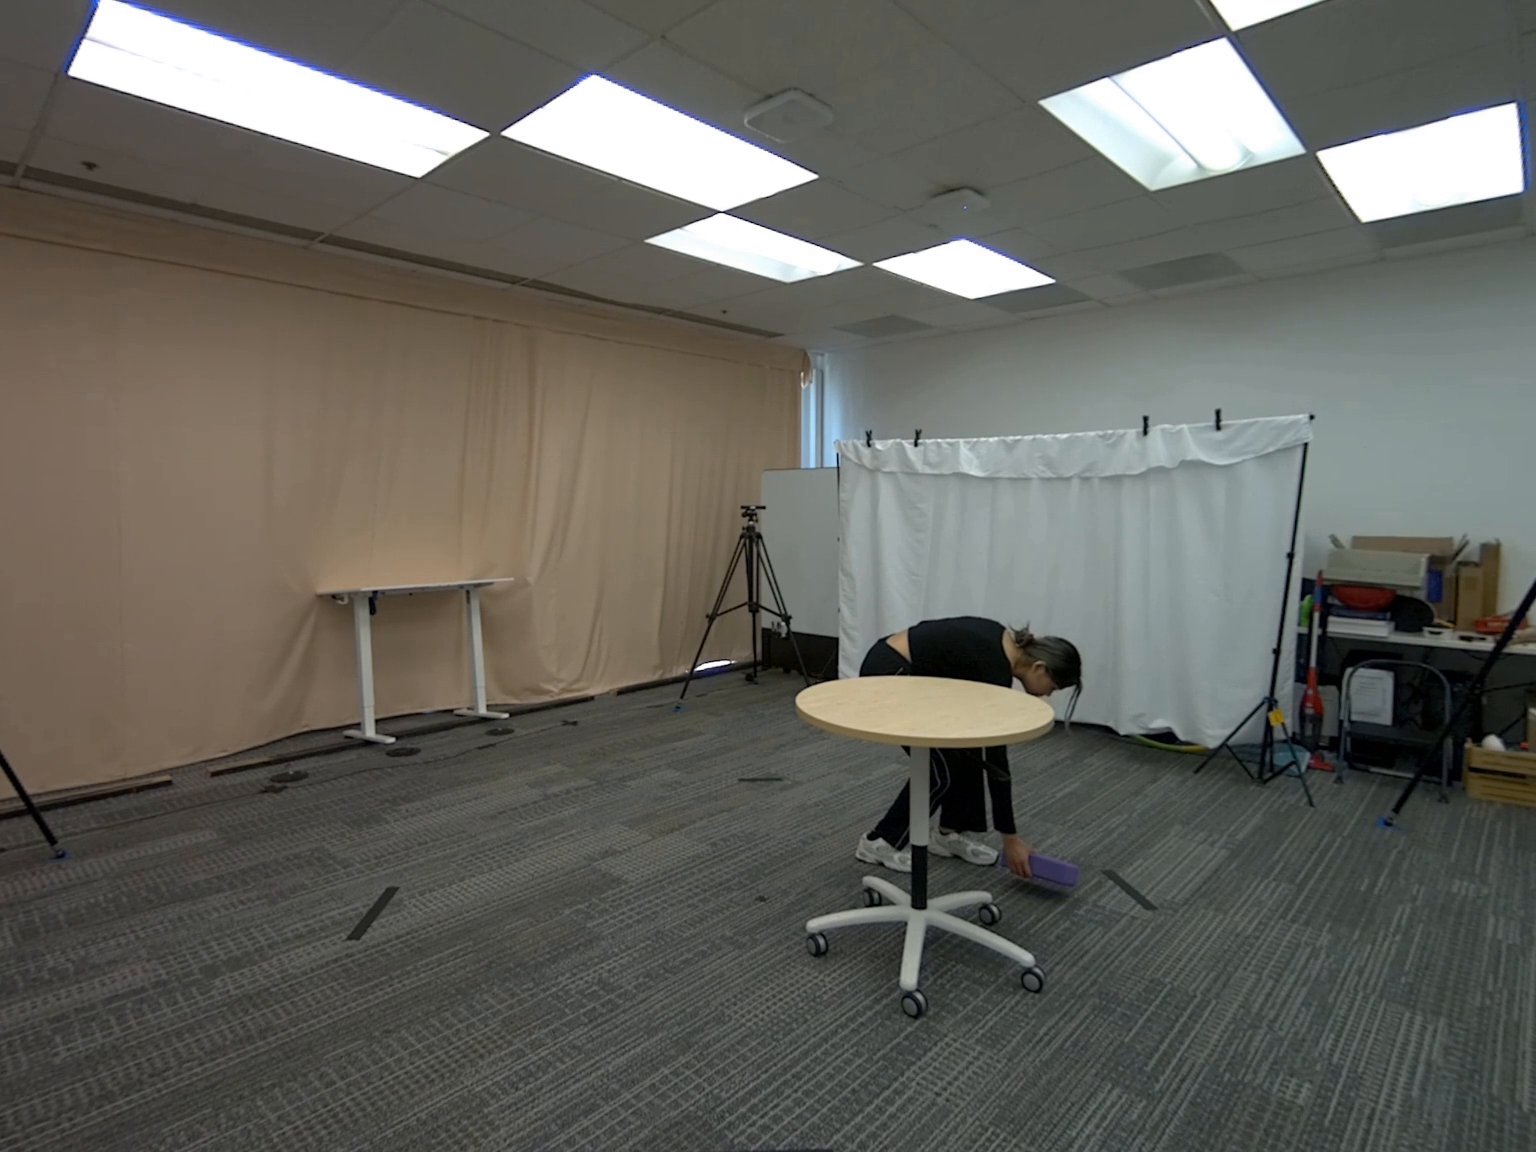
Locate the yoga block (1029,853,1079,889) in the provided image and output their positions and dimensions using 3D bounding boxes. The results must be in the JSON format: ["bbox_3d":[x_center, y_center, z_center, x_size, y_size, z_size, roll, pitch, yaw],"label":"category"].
[{"bbox_3d":[1.004,1.054,3.043,0.237,0.076,0.143,7,-10,38],"label":"yoga block"}]
